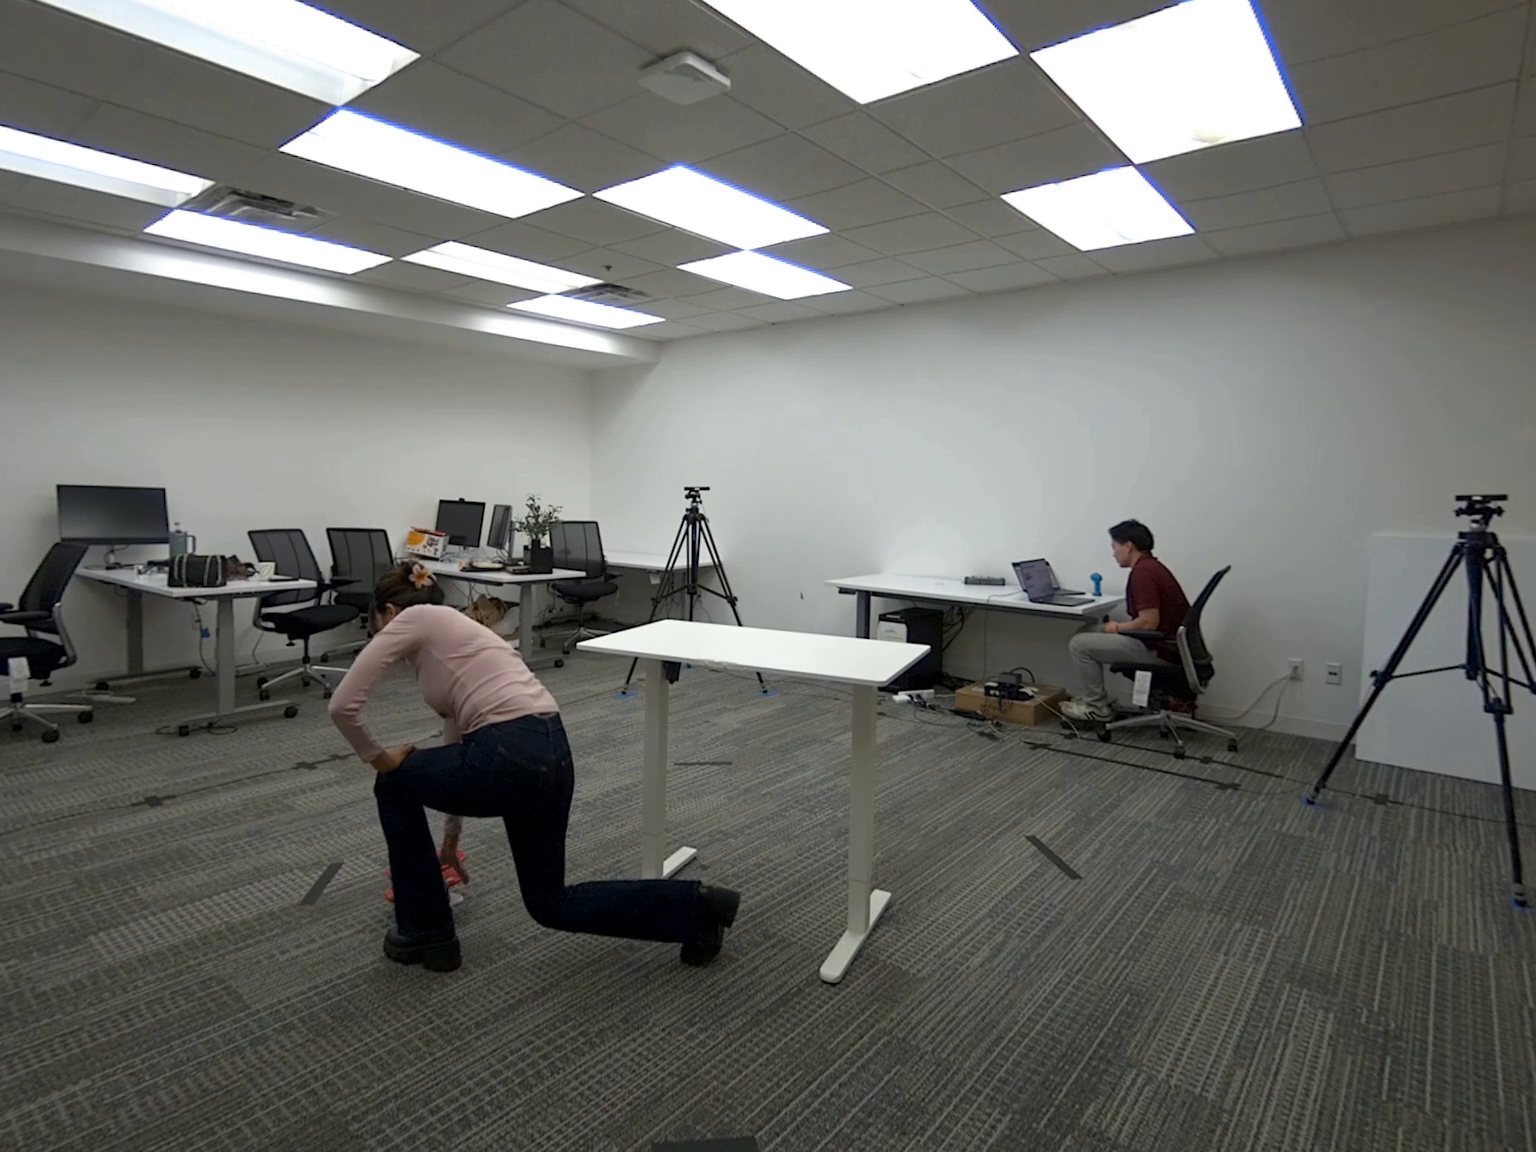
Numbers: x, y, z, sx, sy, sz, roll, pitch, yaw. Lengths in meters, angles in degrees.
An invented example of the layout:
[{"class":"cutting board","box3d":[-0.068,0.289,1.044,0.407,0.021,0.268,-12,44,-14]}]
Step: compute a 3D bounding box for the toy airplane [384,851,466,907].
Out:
[{"class":"toy airplane","box3d":[-1.089,1.003,2.809,0.264,0.156,0.247,1,5,18]}]
